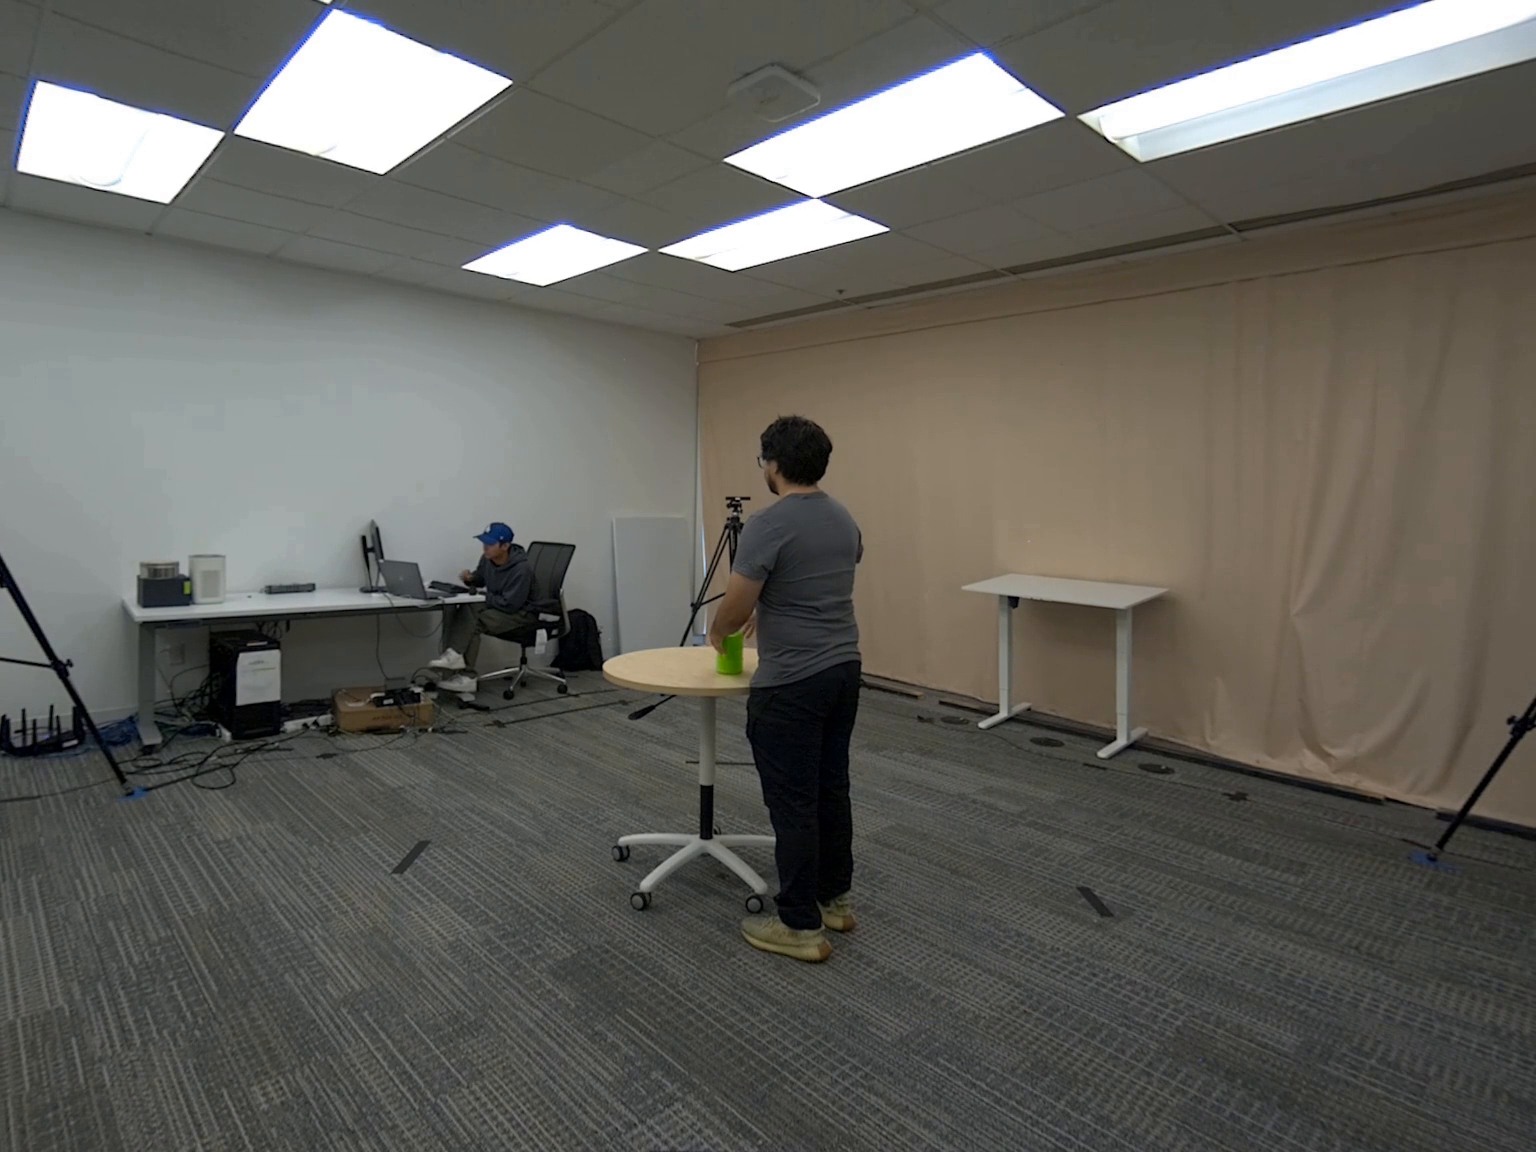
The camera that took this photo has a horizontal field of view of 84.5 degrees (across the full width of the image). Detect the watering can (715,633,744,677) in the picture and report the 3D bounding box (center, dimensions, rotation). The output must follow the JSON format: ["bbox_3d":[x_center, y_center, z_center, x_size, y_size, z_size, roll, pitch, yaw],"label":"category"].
[{"bbox_3d":[-0.123,0.247,2.995,0.100,0.176,0.274,7,8,26],"label":"watering can"}]
